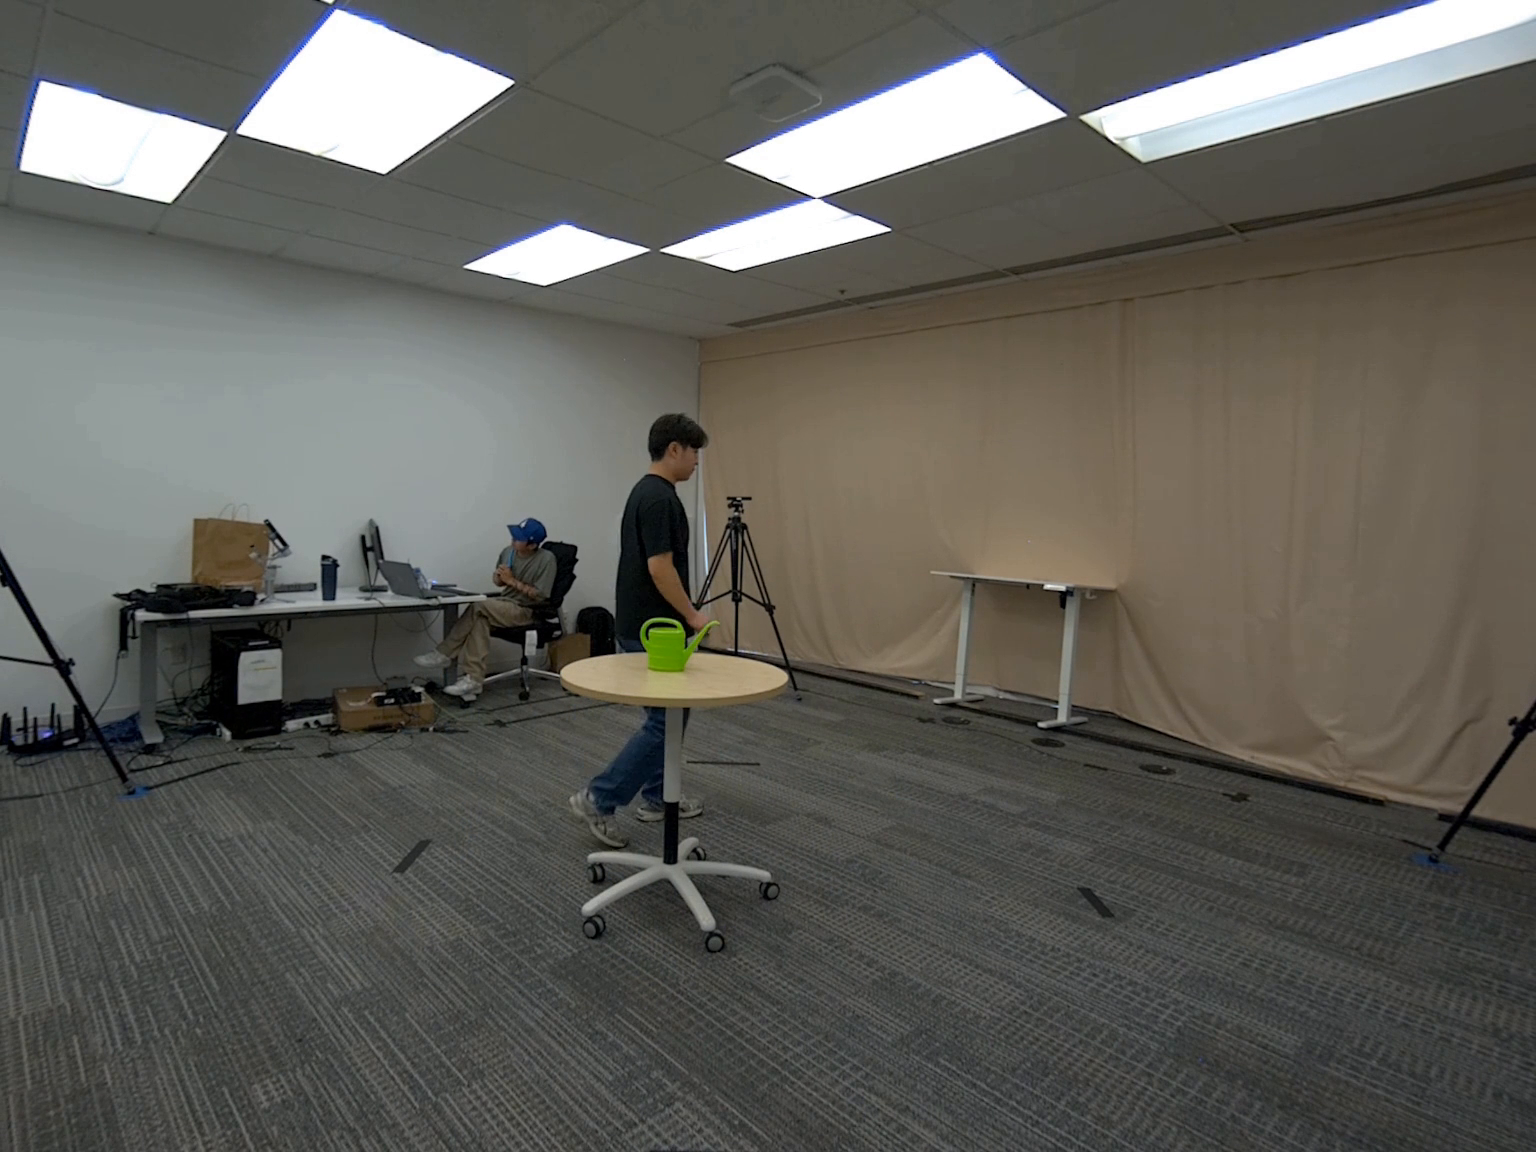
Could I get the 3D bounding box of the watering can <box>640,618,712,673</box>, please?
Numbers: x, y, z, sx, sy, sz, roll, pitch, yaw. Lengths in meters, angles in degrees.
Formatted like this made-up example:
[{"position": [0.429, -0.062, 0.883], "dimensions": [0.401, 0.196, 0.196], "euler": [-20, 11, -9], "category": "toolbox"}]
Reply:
[{"position": [-0.320, 0.244, 2.877], "dimensions": [0.284, 0.176, 0.096], "euler": [2, 3, 28], "category": "watering can"}]
